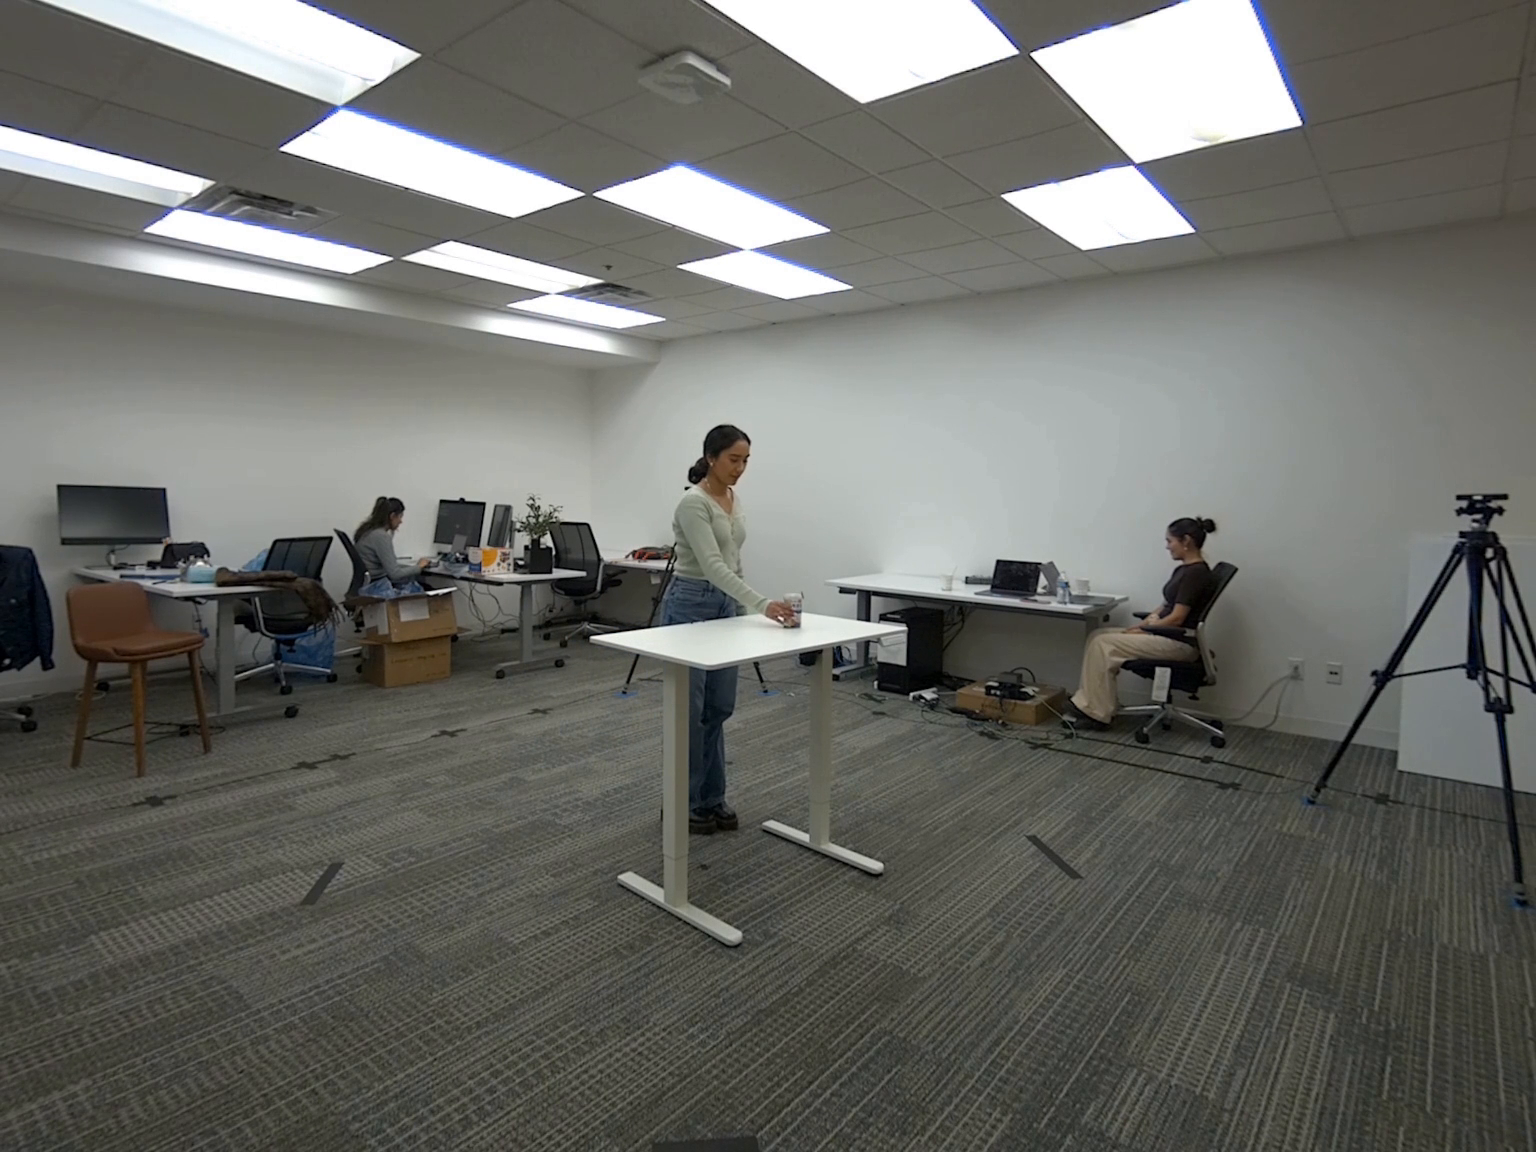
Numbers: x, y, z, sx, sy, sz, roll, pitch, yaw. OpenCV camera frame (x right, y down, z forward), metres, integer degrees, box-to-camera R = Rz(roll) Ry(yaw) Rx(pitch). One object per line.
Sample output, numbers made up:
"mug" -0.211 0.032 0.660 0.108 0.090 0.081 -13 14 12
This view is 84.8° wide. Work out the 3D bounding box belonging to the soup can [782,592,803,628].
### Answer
"soup can" 0.077 0.120 3.107 0.067 0.121 0.067 0 7 -2
